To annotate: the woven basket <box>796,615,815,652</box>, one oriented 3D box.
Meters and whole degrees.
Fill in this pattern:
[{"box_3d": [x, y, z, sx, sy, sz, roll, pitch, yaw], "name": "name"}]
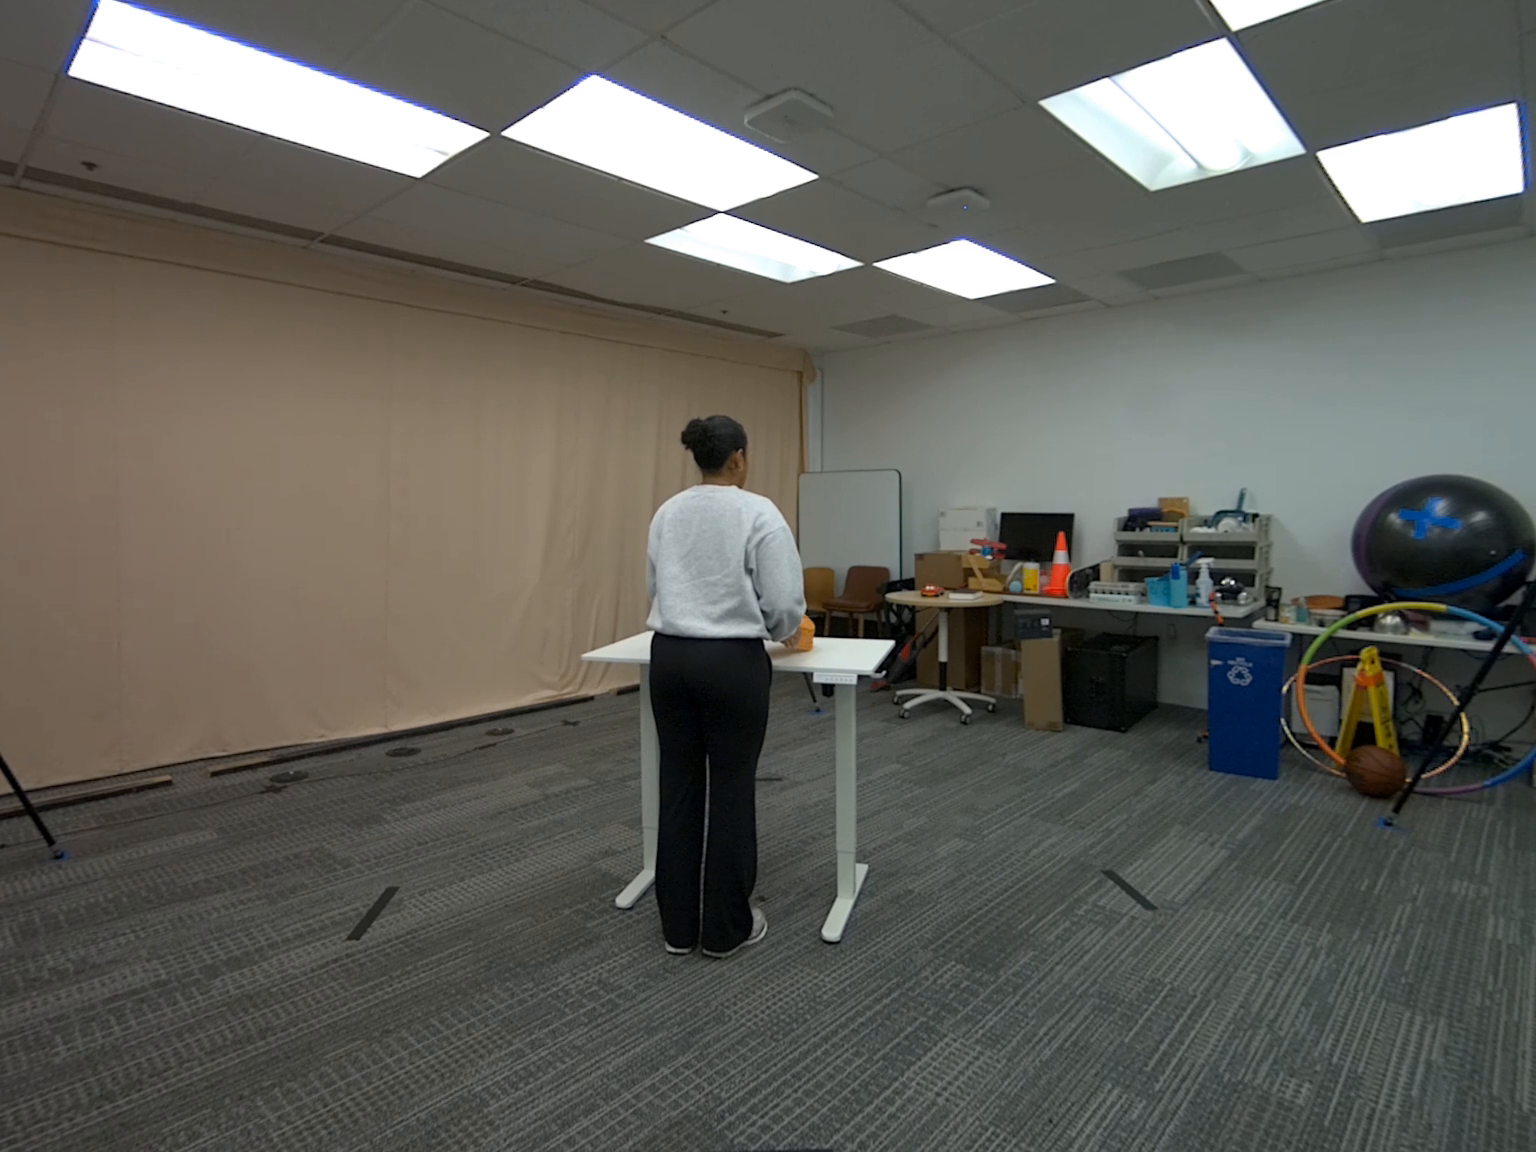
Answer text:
[{"box_3d": [0.056, 0.145, 2.929, 0.338, 0.073, 0.261, 20, 18, -42], "name": "woven basket"}]
